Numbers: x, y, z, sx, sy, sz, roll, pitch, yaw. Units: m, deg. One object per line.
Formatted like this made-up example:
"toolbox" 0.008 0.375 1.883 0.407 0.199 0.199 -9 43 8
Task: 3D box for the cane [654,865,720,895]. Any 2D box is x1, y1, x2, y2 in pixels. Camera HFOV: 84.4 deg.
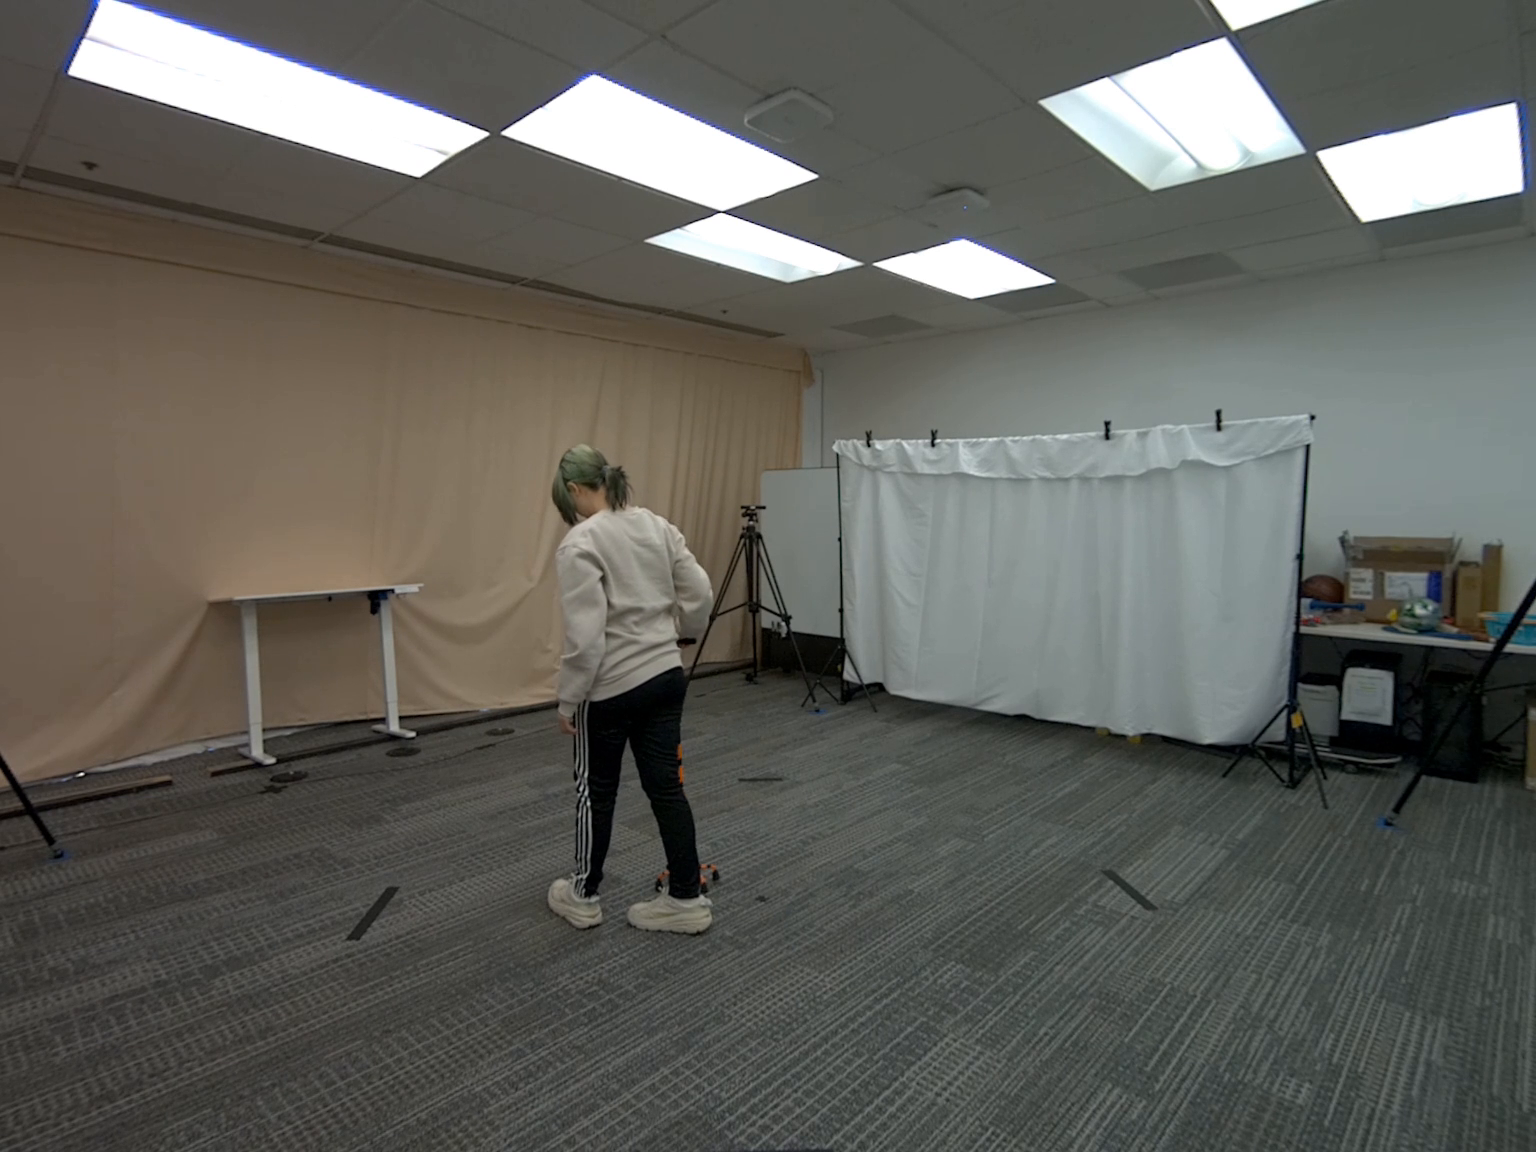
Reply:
"cane" -0.318 0.677 3.092 0.210 0.909 0.149 -4 -2 17
